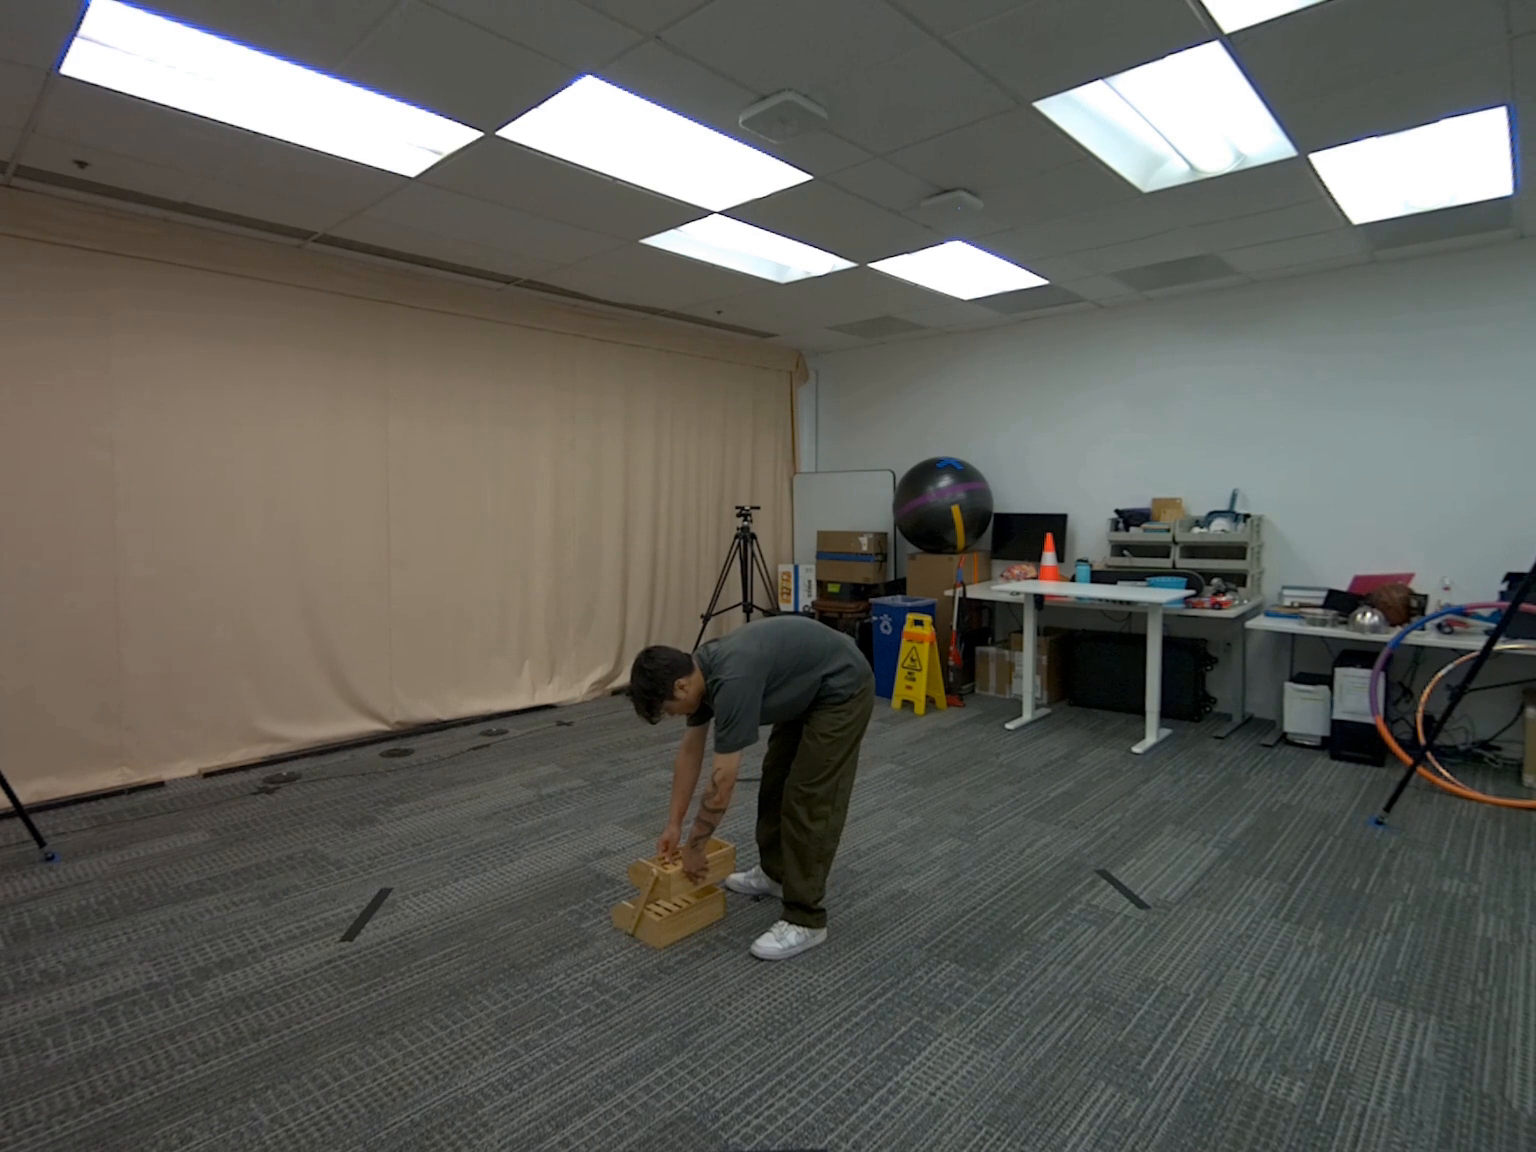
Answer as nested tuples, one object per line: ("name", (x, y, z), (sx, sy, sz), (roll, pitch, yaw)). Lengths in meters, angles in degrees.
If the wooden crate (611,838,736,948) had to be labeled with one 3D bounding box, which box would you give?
("wooden crate", (-0.319, 1.025, 2.810), (0.312, 0.273, 0.314), (4, 6, 43))
